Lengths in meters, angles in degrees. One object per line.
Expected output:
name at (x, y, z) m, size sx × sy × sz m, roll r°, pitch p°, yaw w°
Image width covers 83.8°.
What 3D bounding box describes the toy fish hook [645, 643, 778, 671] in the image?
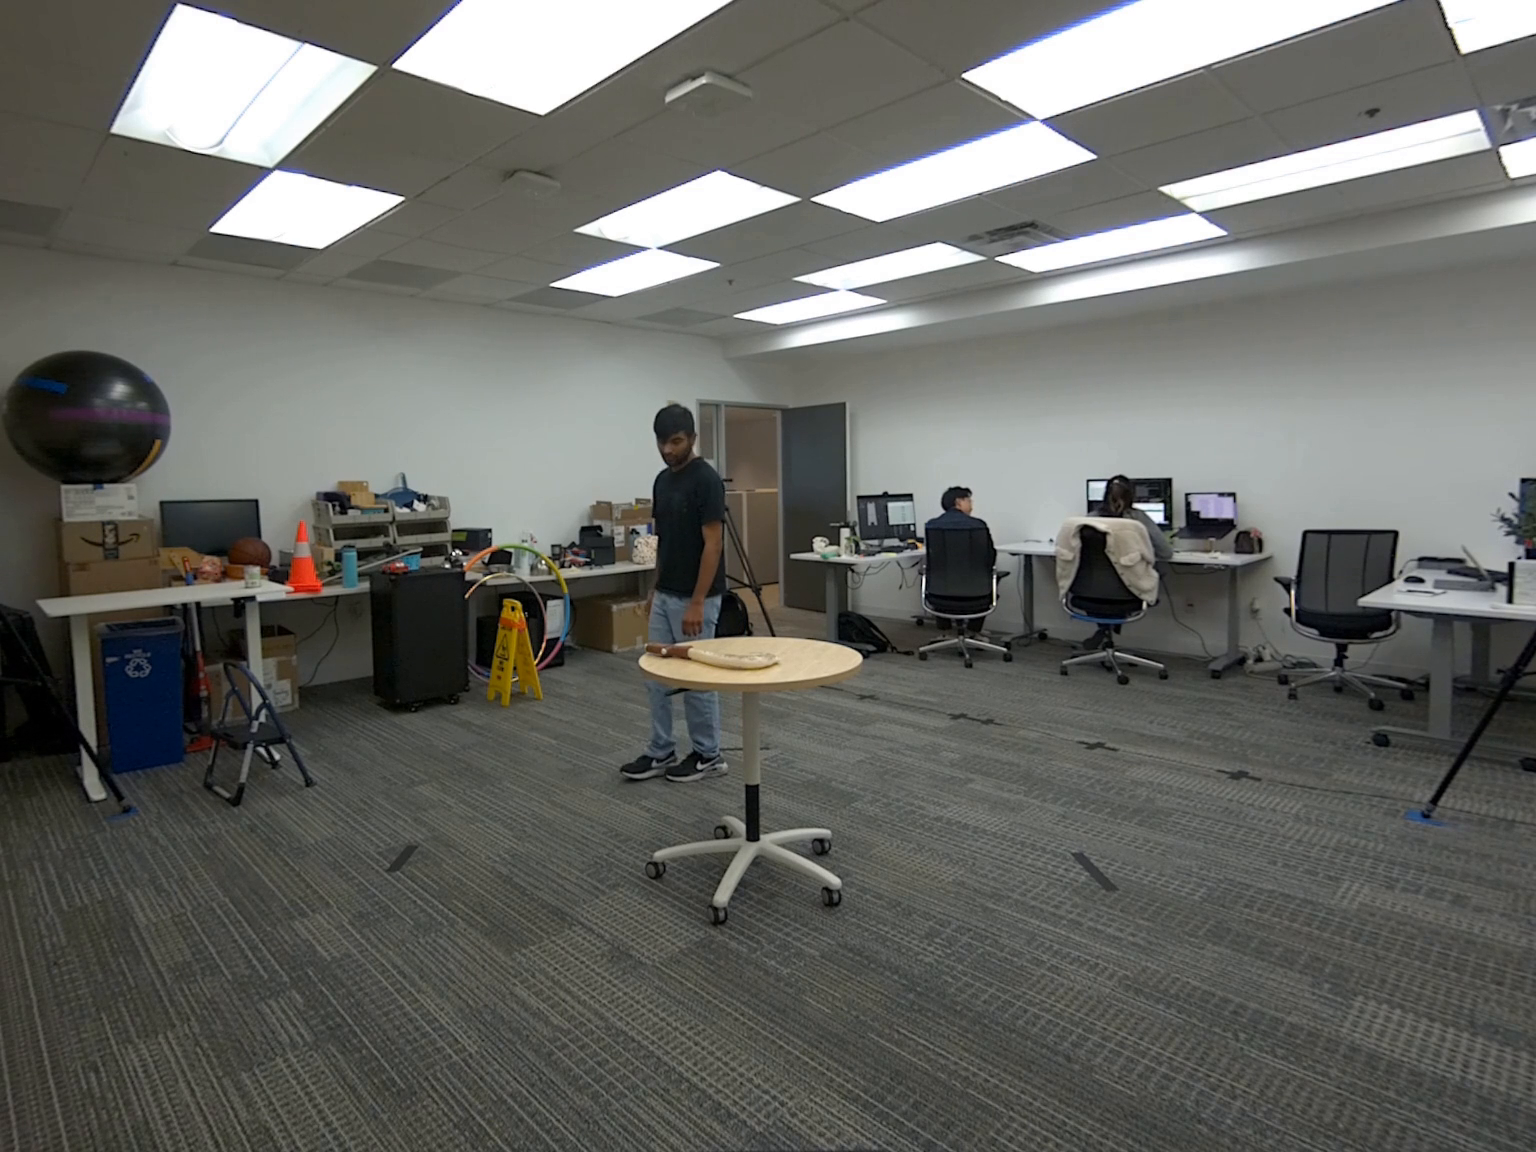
toy fish hook at (-0.201, 0.270, 2.925) m, size 0.521 × 0.048 × 0.219 m, roll 4°, pitch 4°, yaw 35°
